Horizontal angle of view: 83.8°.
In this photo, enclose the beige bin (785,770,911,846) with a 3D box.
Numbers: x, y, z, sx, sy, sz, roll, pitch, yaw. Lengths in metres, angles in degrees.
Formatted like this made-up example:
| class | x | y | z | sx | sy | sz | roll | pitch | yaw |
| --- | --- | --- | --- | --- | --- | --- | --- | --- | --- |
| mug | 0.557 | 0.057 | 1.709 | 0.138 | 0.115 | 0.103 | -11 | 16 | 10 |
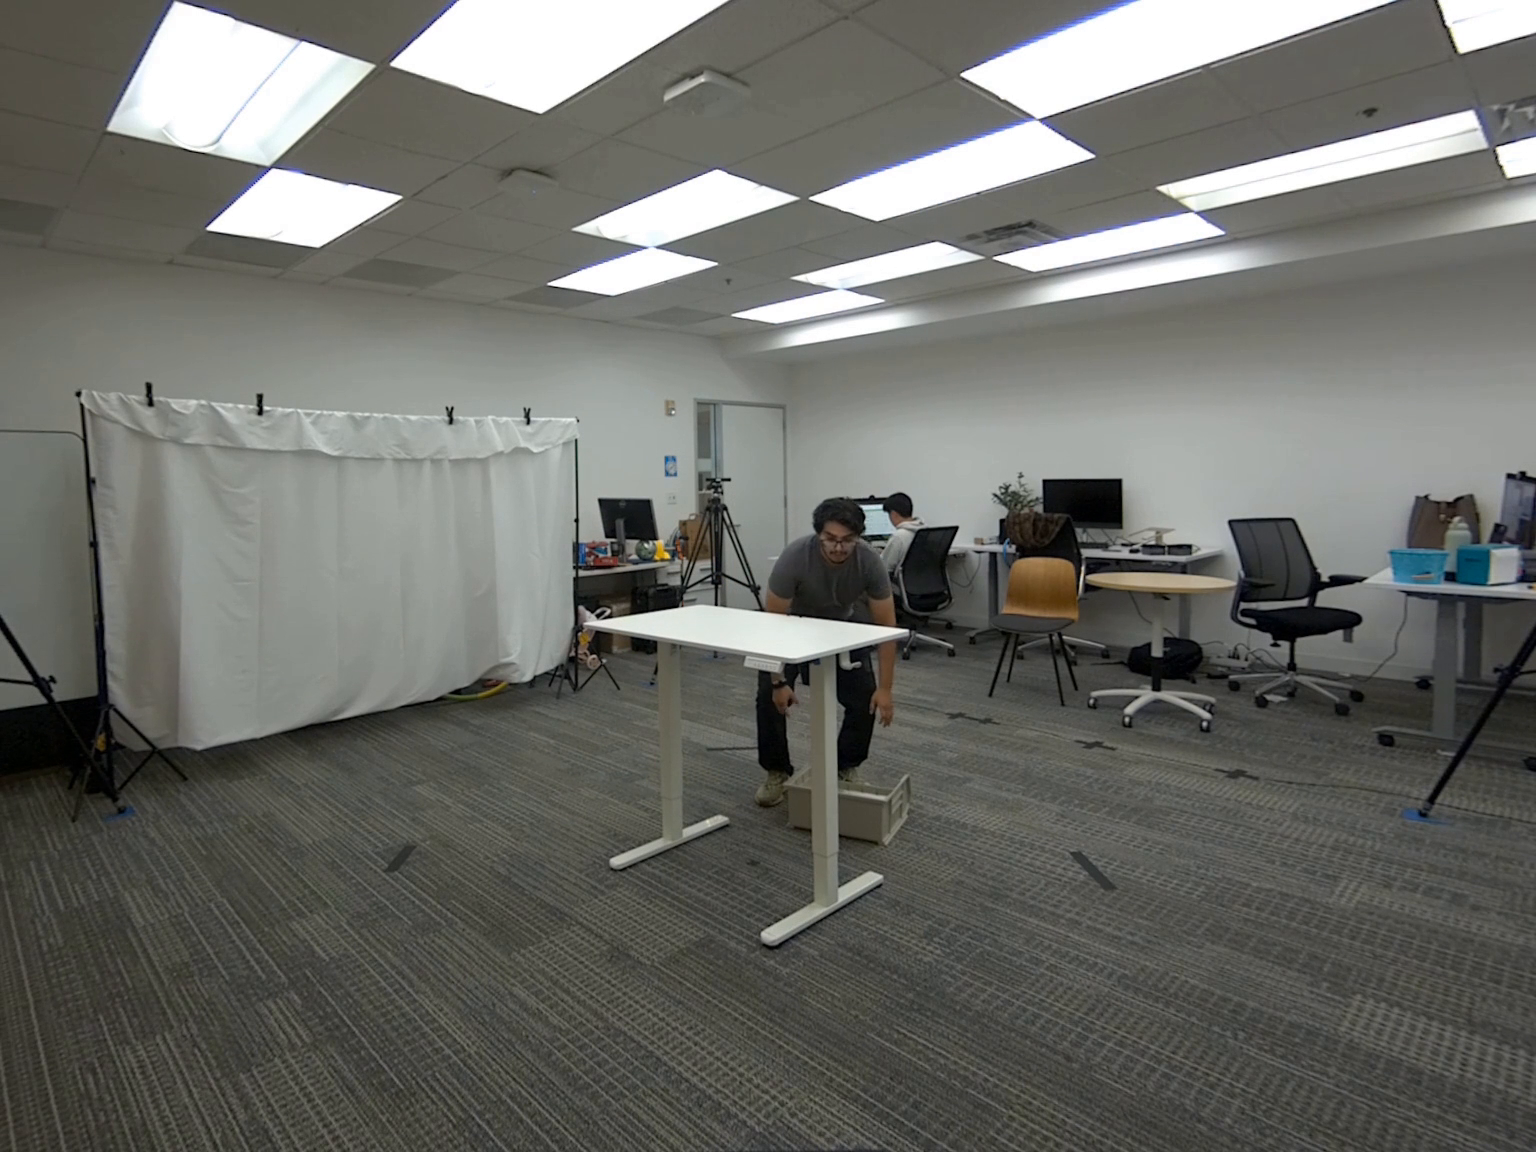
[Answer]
| class | x | y | z | sx | sy | sz | roll | pitch | yaw |
| --- | --- | --- | --- | --- | --- | --- | --- | --- | --- |
| beige bin | 0.330 | 0.909 | 3.475 | 0.432 | 0.188 | 0.370 | 3 | 7 | 26 |
